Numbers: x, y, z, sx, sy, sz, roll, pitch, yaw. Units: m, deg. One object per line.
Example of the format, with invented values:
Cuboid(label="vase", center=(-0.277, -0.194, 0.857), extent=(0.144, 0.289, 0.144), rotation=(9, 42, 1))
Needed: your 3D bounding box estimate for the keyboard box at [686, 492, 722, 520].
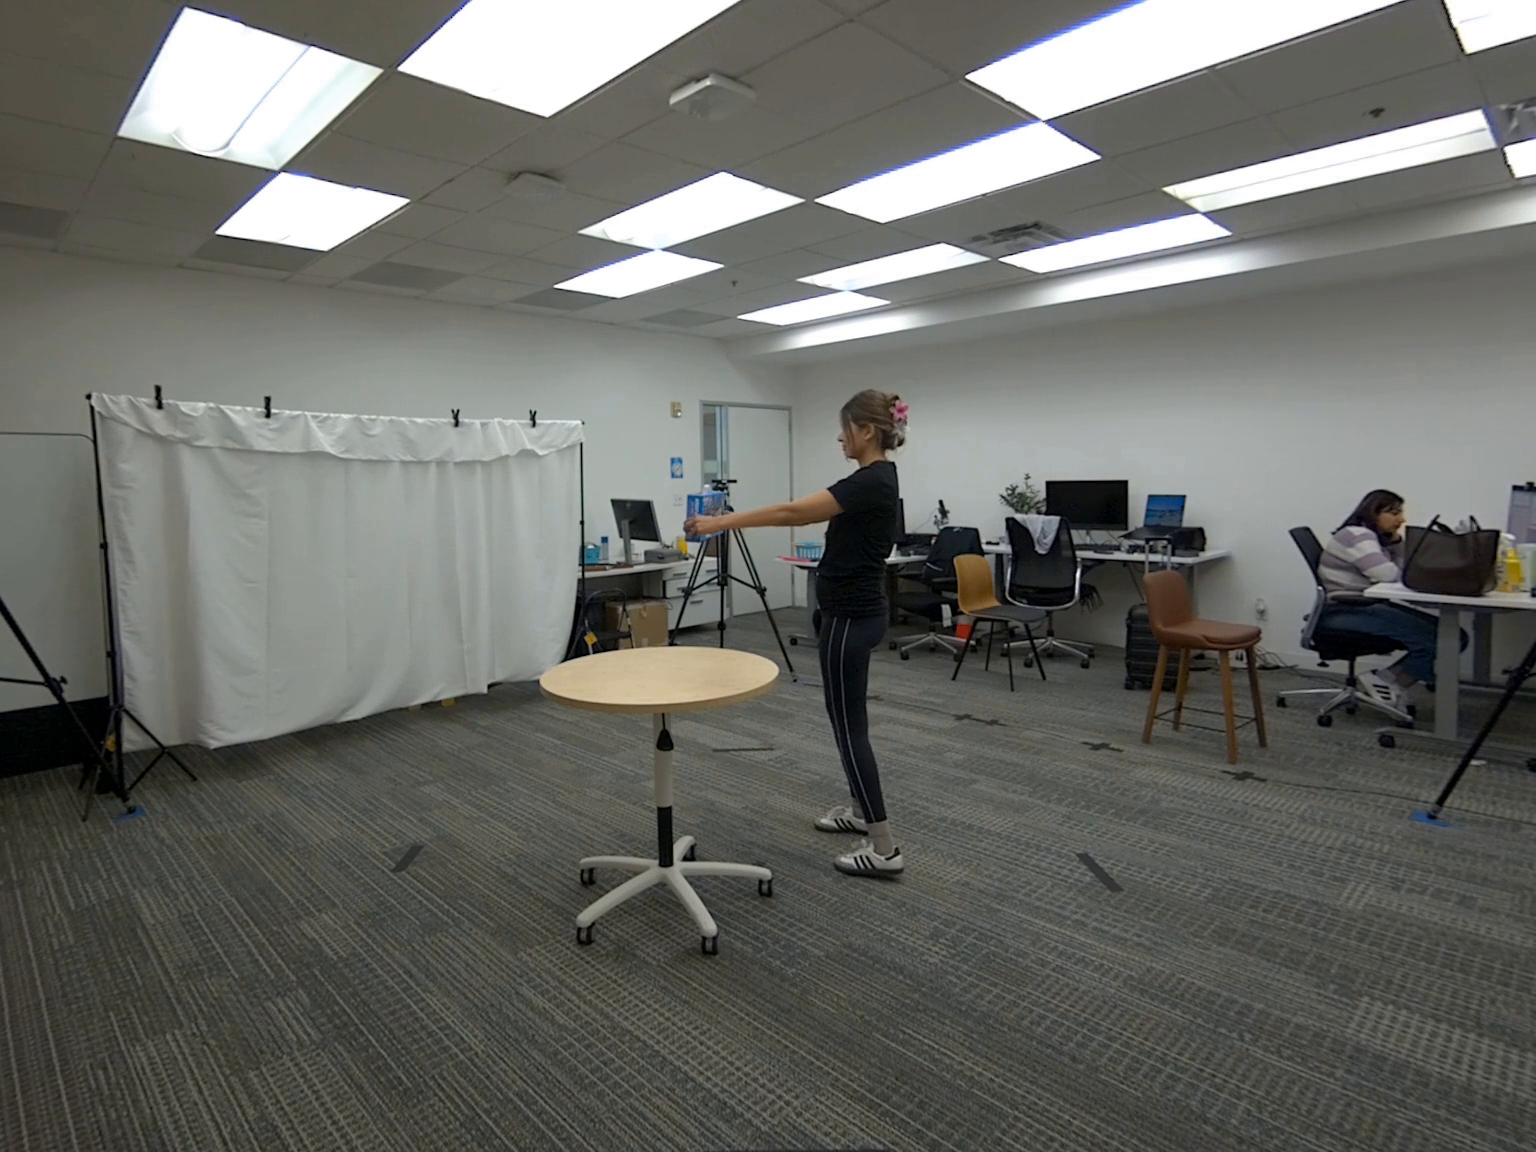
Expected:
Cuboid(label="keyboard box", center=(-0.230, -0.236, 3.296), extent=(0.060, 0.175, 0.434), rotation=(4, 6, 8))
